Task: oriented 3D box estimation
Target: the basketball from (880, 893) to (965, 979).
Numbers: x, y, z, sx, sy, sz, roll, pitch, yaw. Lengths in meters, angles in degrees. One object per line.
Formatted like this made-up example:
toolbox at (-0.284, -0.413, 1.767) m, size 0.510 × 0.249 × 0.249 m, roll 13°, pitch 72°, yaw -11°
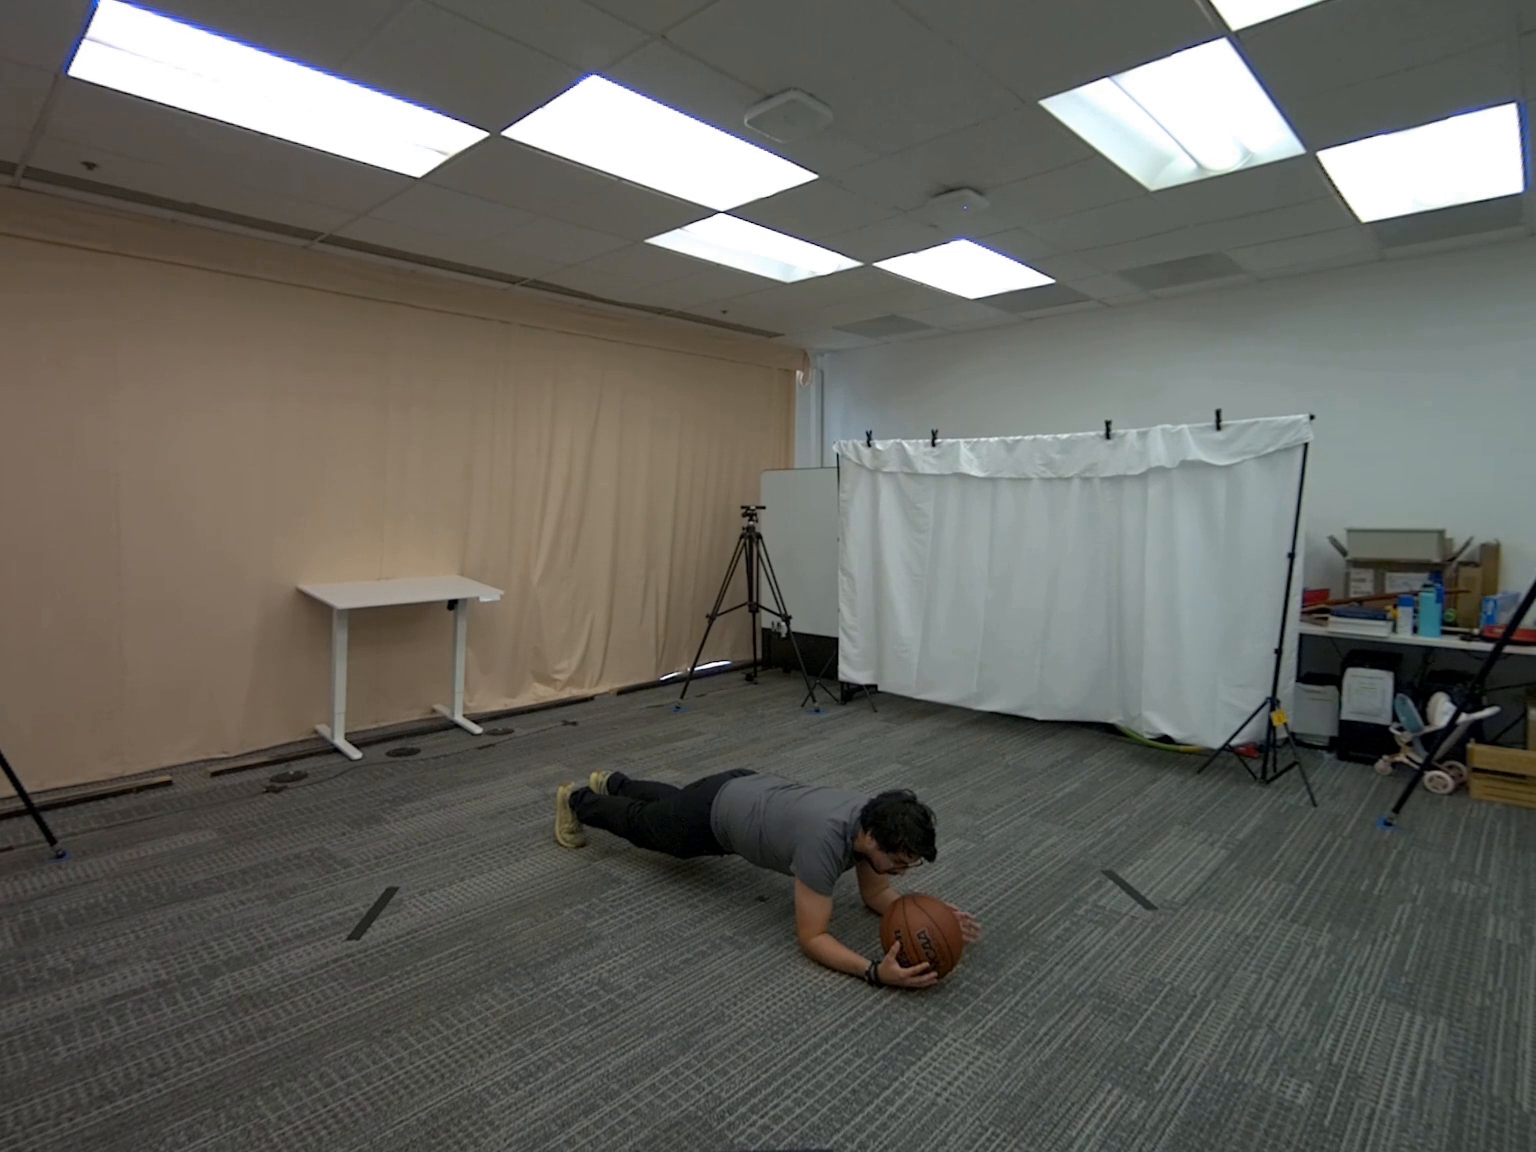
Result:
basketball at (0.455, 1.062, 2.492) m, size 0.236 × 0.235 × 0.237 m, roll 0°, pitch 4°, yaw -2°
